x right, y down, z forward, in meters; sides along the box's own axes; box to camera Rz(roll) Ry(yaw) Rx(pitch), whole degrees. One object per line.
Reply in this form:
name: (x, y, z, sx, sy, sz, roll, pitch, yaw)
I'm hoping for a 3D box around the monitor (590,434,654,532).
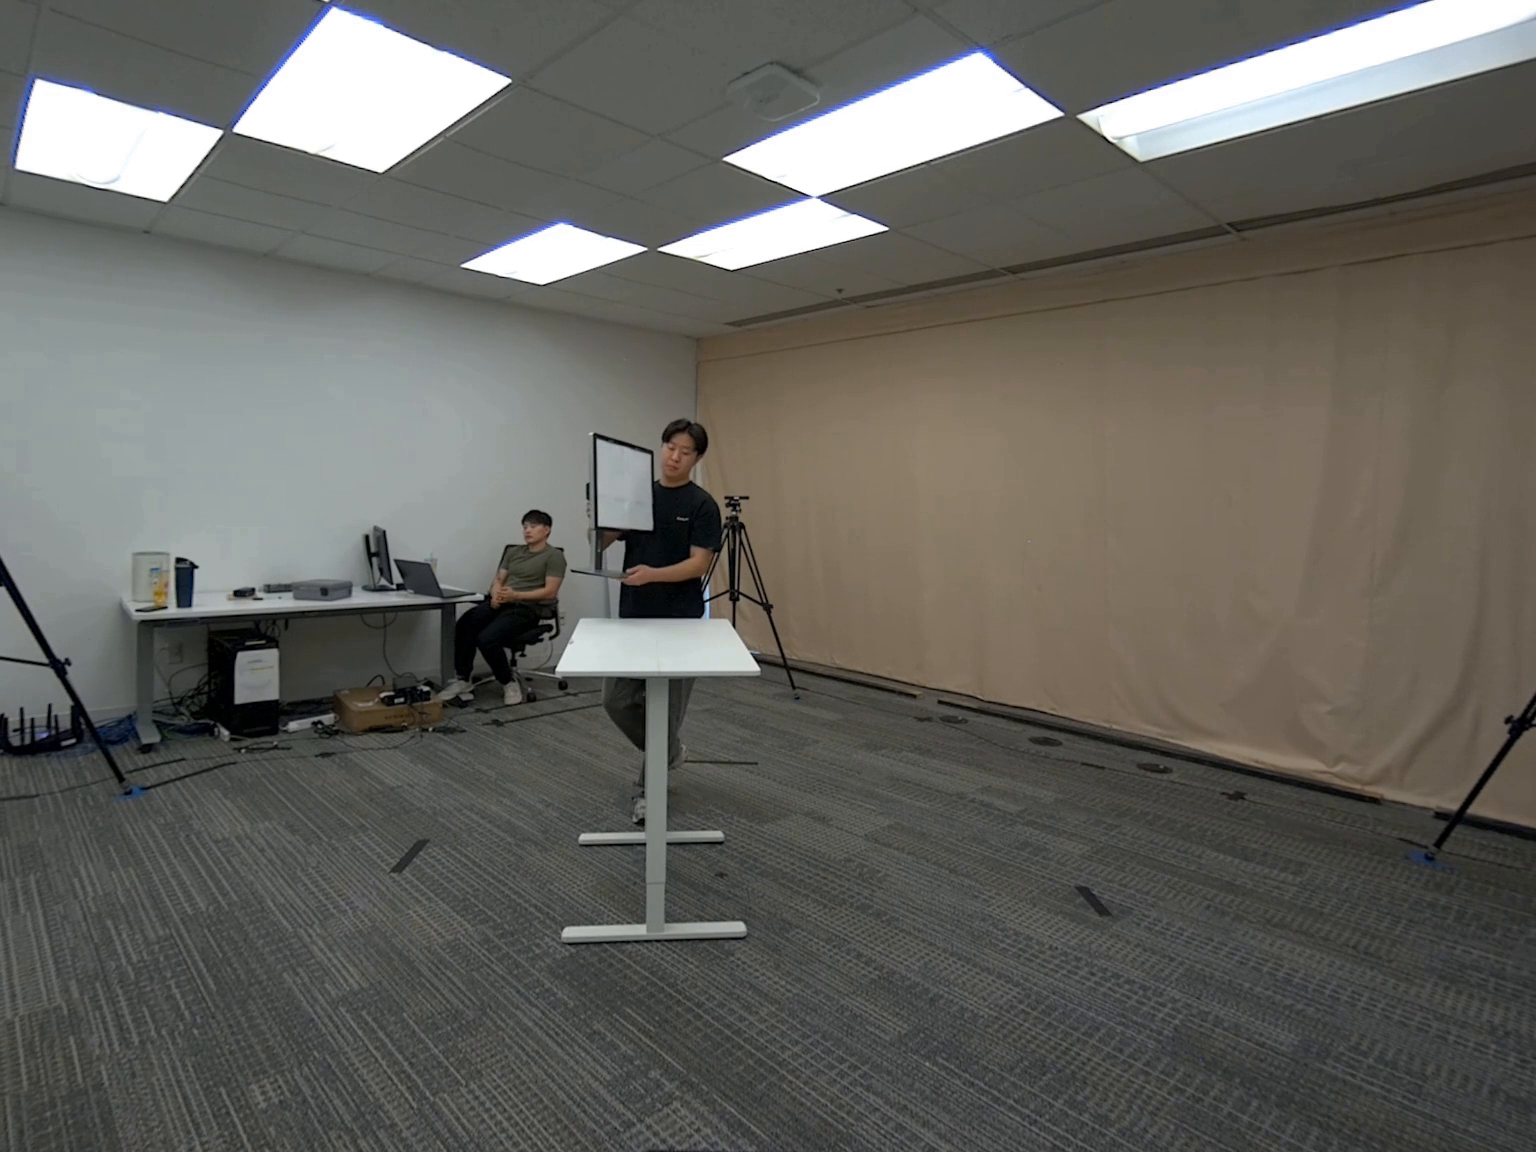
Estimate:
monitor: (-0.632, -0.258, 3.384, 0.226, 0.565, 0.553, 15, 5, 17)
